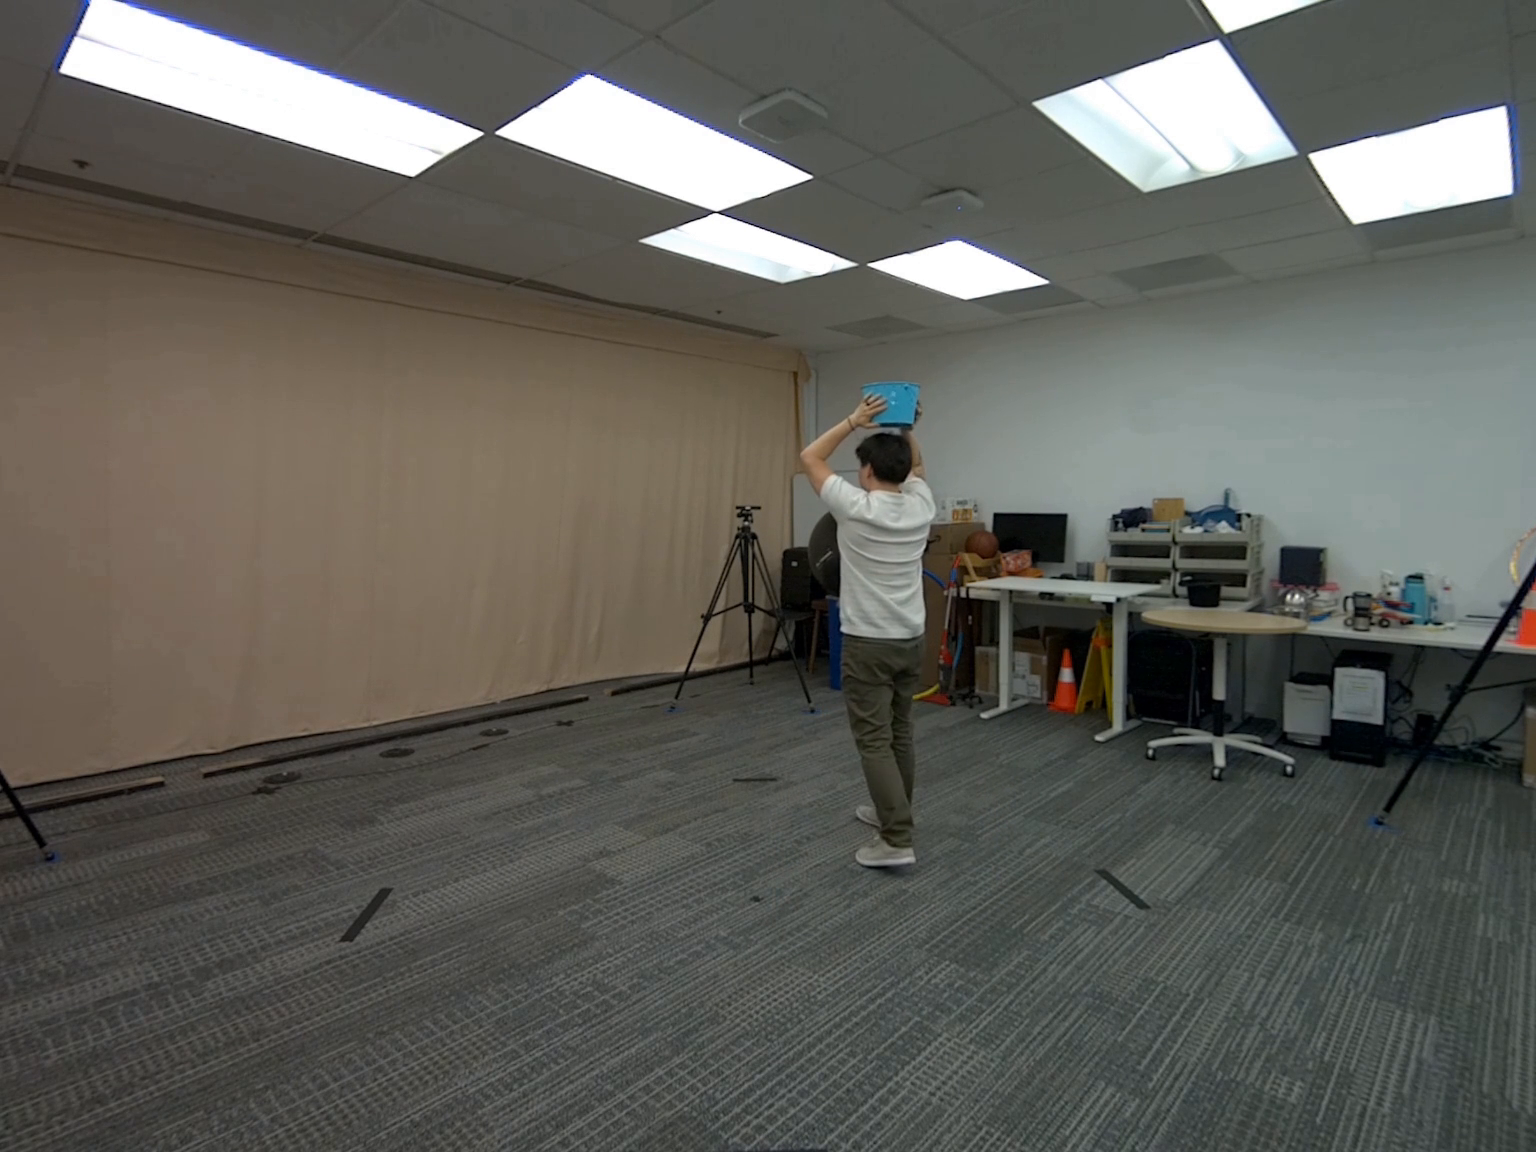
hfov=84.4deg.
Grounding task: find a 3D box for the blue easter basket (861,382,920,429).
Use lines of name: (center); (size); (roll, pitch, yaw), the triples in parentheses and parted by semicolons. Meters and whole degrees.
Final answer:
blue easter basket: (0.500, -0.678, 3.356); (0.243, 0.155, 0.244); (-1, 3, -2)
